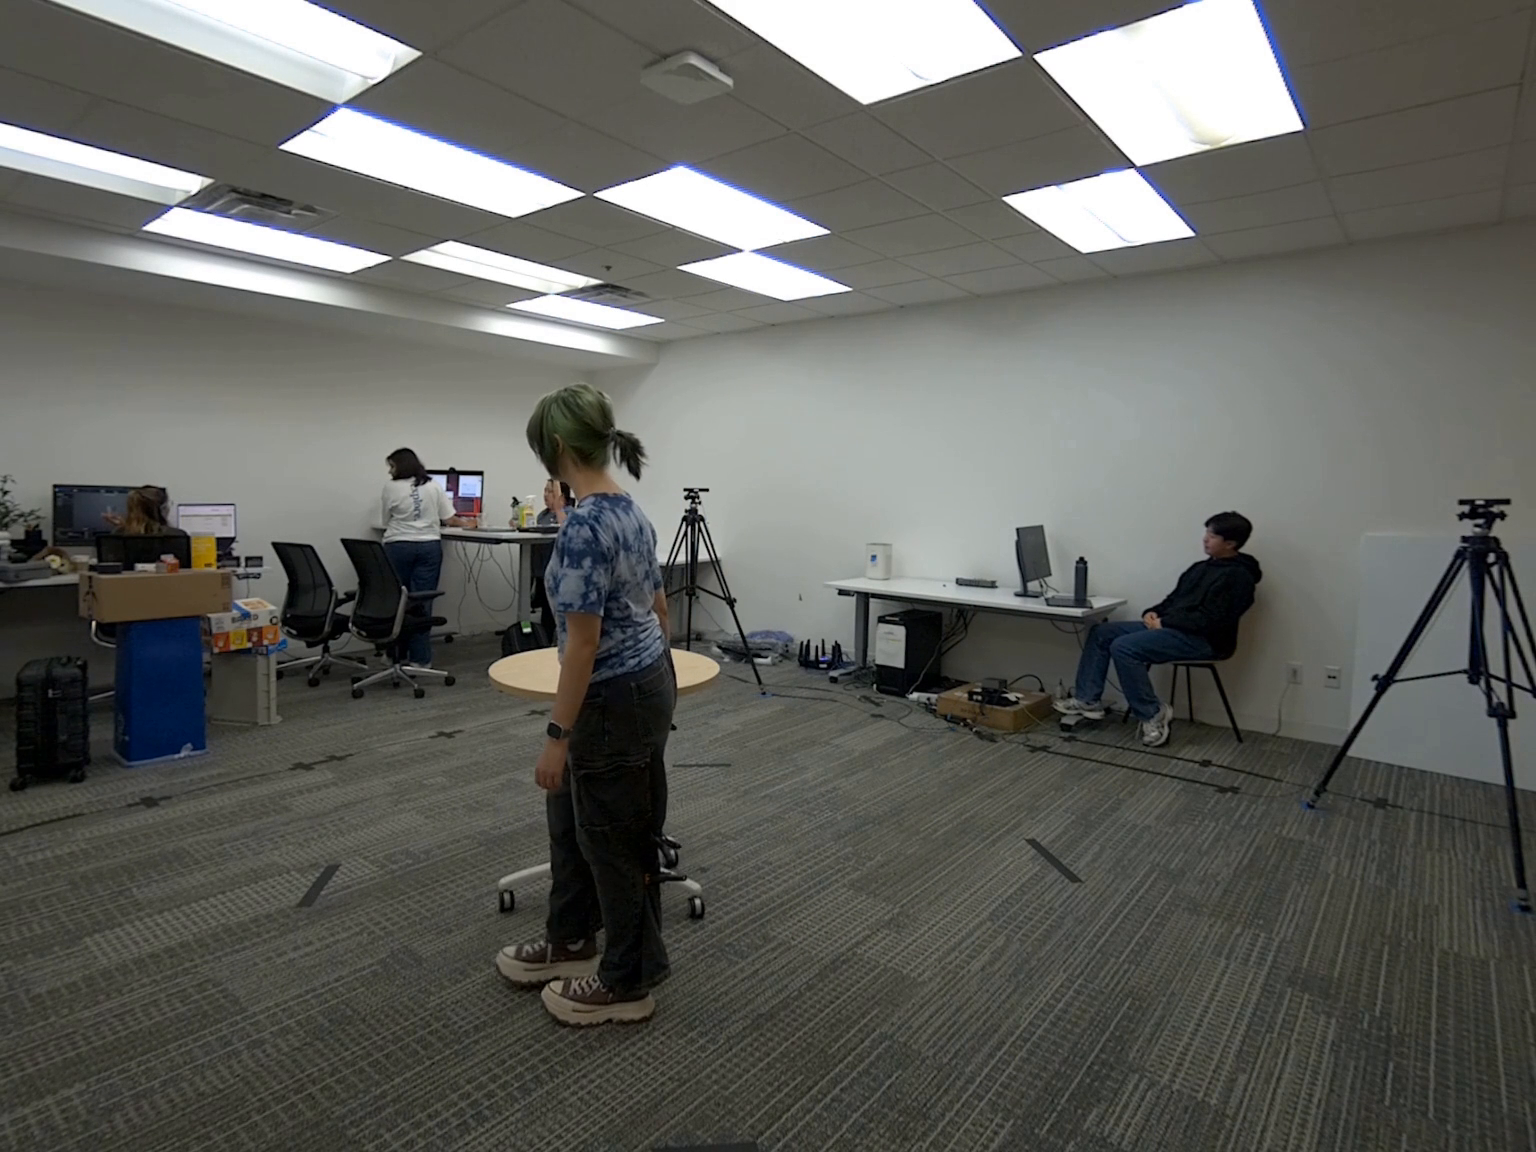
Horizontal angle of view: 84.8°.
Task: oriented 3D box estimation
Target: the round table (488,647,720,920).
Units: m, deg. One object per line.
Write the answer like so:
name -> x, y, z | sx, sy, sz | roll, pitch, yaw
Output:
round table -> -0.557, 0.695, 2.878 | 0.763, 0.791, 0.768 | 1, 5, -2
